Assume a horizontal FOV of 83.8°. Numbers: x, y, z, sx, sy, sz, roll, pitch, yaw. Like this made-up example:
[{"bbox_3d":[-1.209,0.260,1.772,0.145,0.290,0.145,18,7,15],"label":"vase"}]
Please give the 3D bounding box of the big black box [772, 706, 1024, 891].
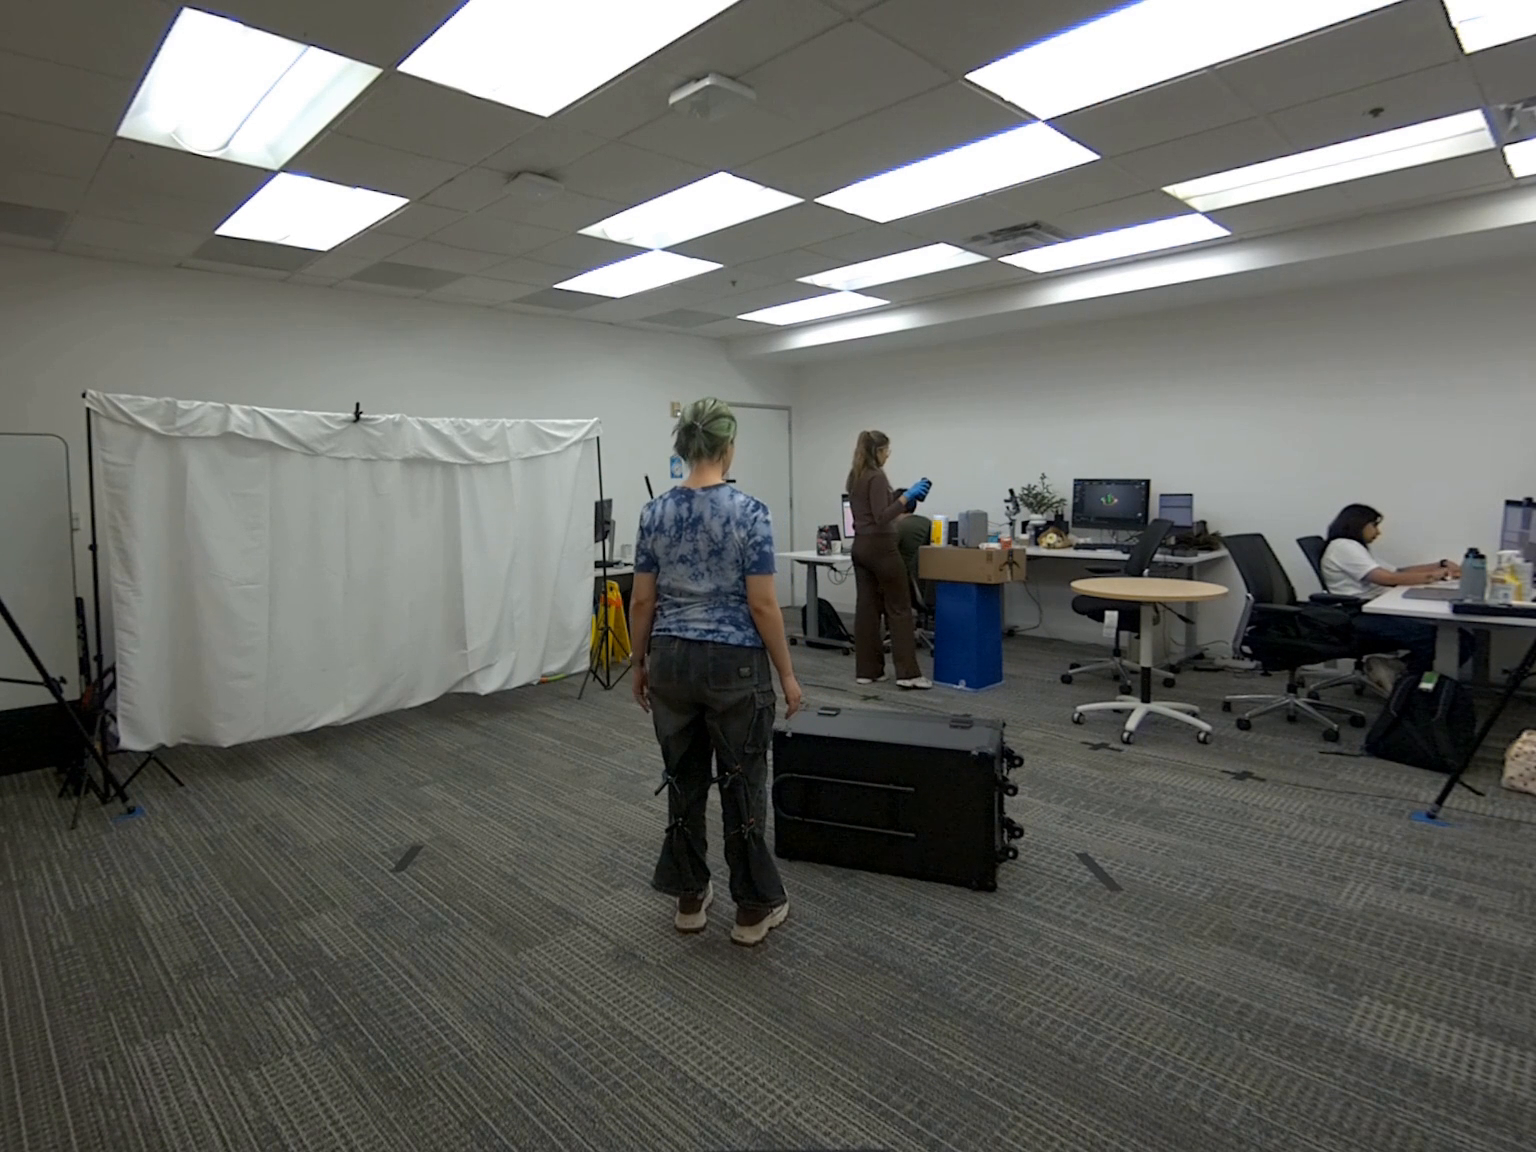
[{"bbox_3d":[0.471,0.780,3.118,0.879,0.518,0.390,0,7,22],"label":"big black box"}]
